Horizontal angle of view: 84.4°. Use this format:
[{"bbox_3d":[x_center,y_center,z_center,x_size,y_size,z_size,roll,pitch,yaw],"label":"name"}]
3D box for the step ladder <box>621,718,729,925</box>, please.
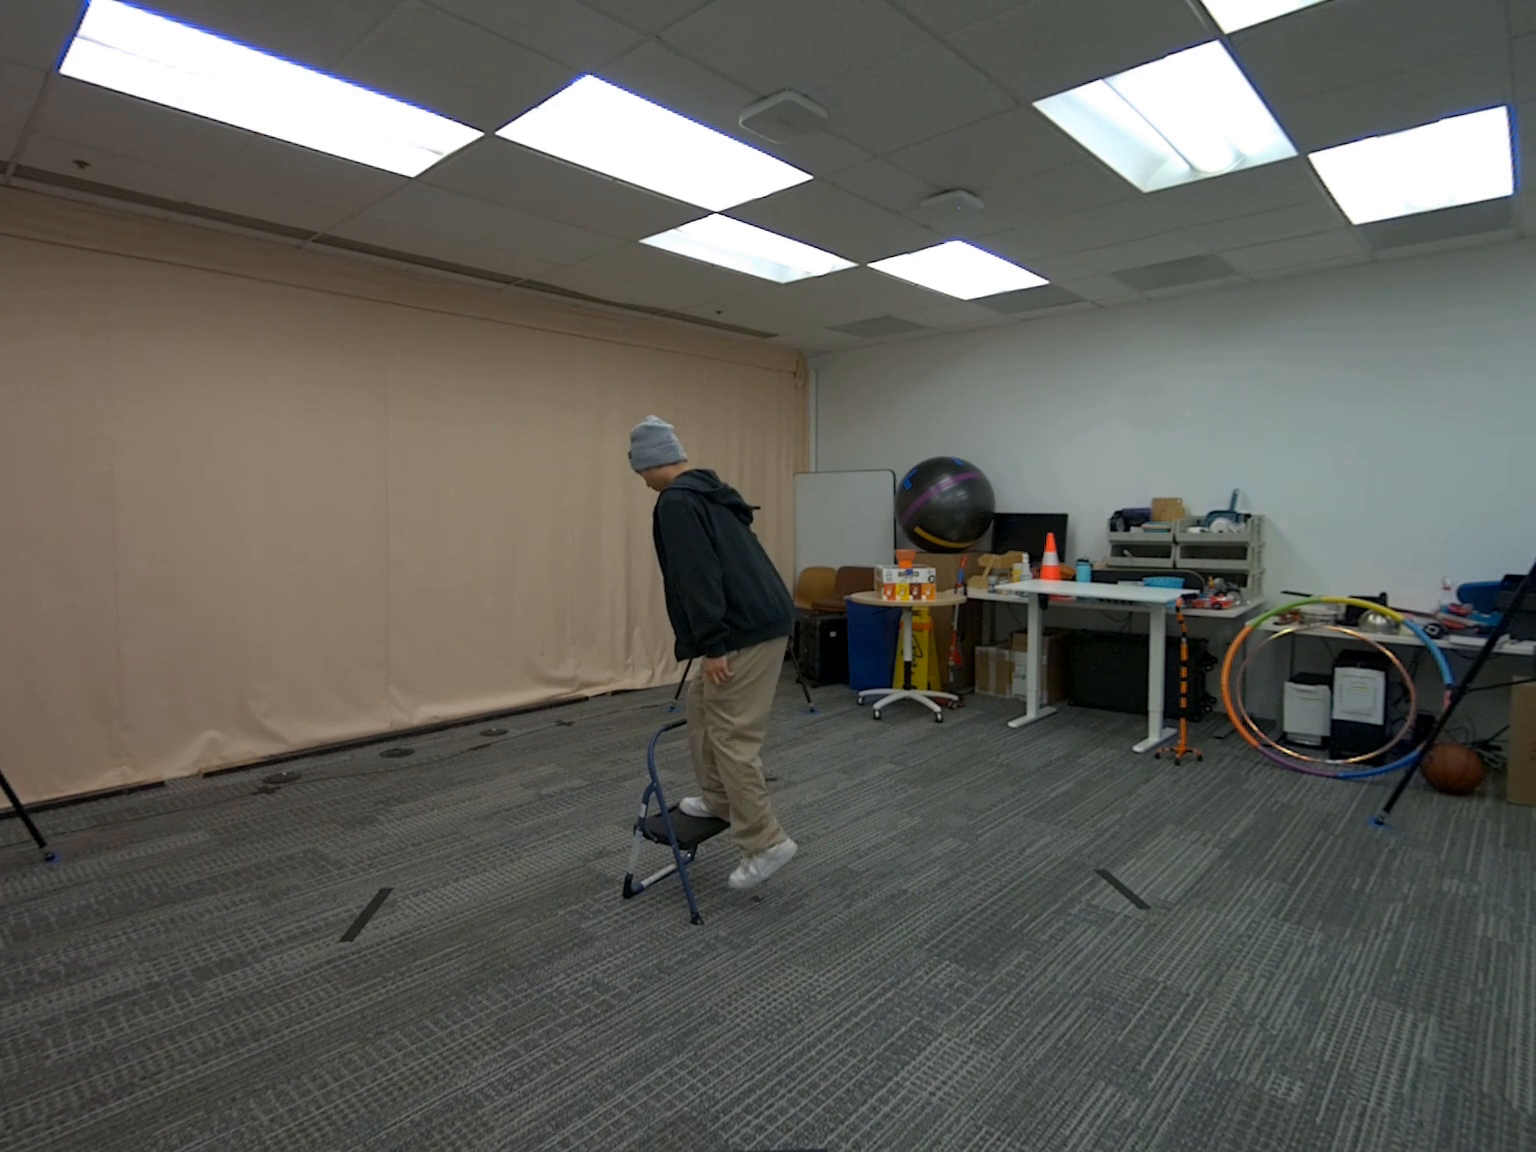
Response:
[{"bbox_3d":[-0.270,0.839,3.056,0.360,0.605,0.419,1,3,32],"label":"step ladder"}]
